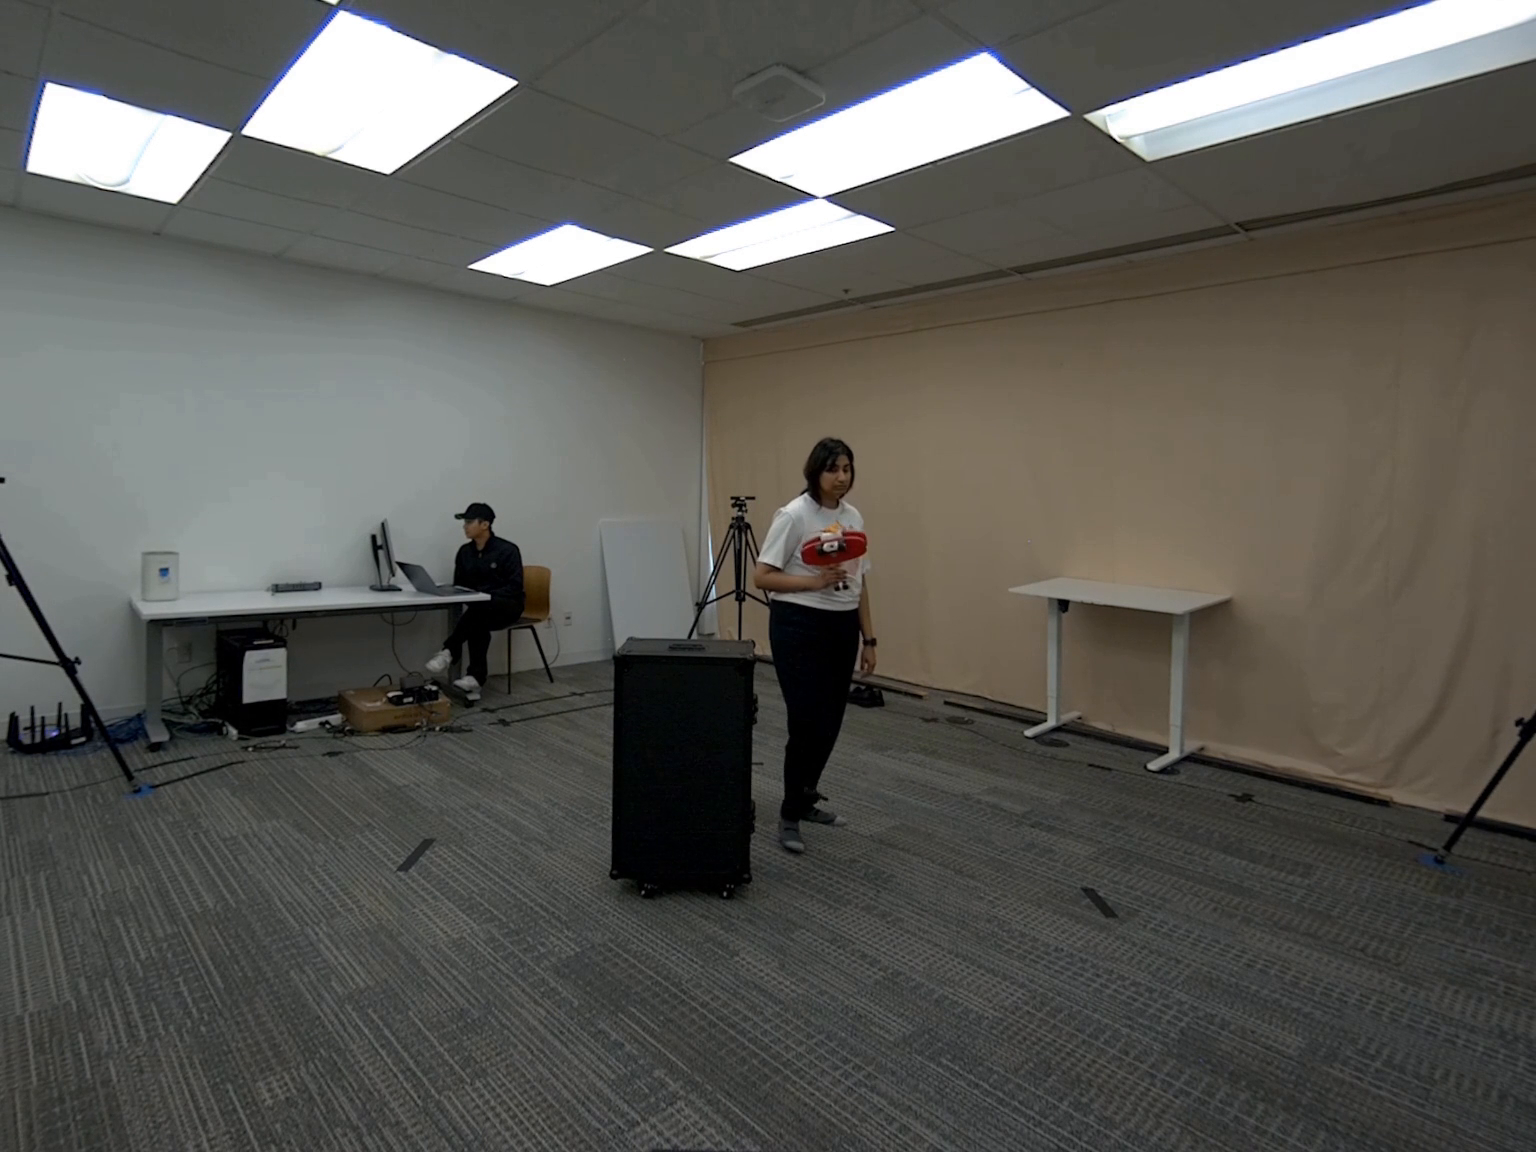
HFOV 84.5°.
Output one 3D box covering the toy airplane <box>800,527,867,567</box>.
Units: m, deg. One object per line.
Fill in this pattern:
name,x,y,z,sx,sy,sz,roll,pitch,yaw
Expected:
toy airplane,0.234,-0.072,3.300,0.251,0.256,0.159,15,32,-2
